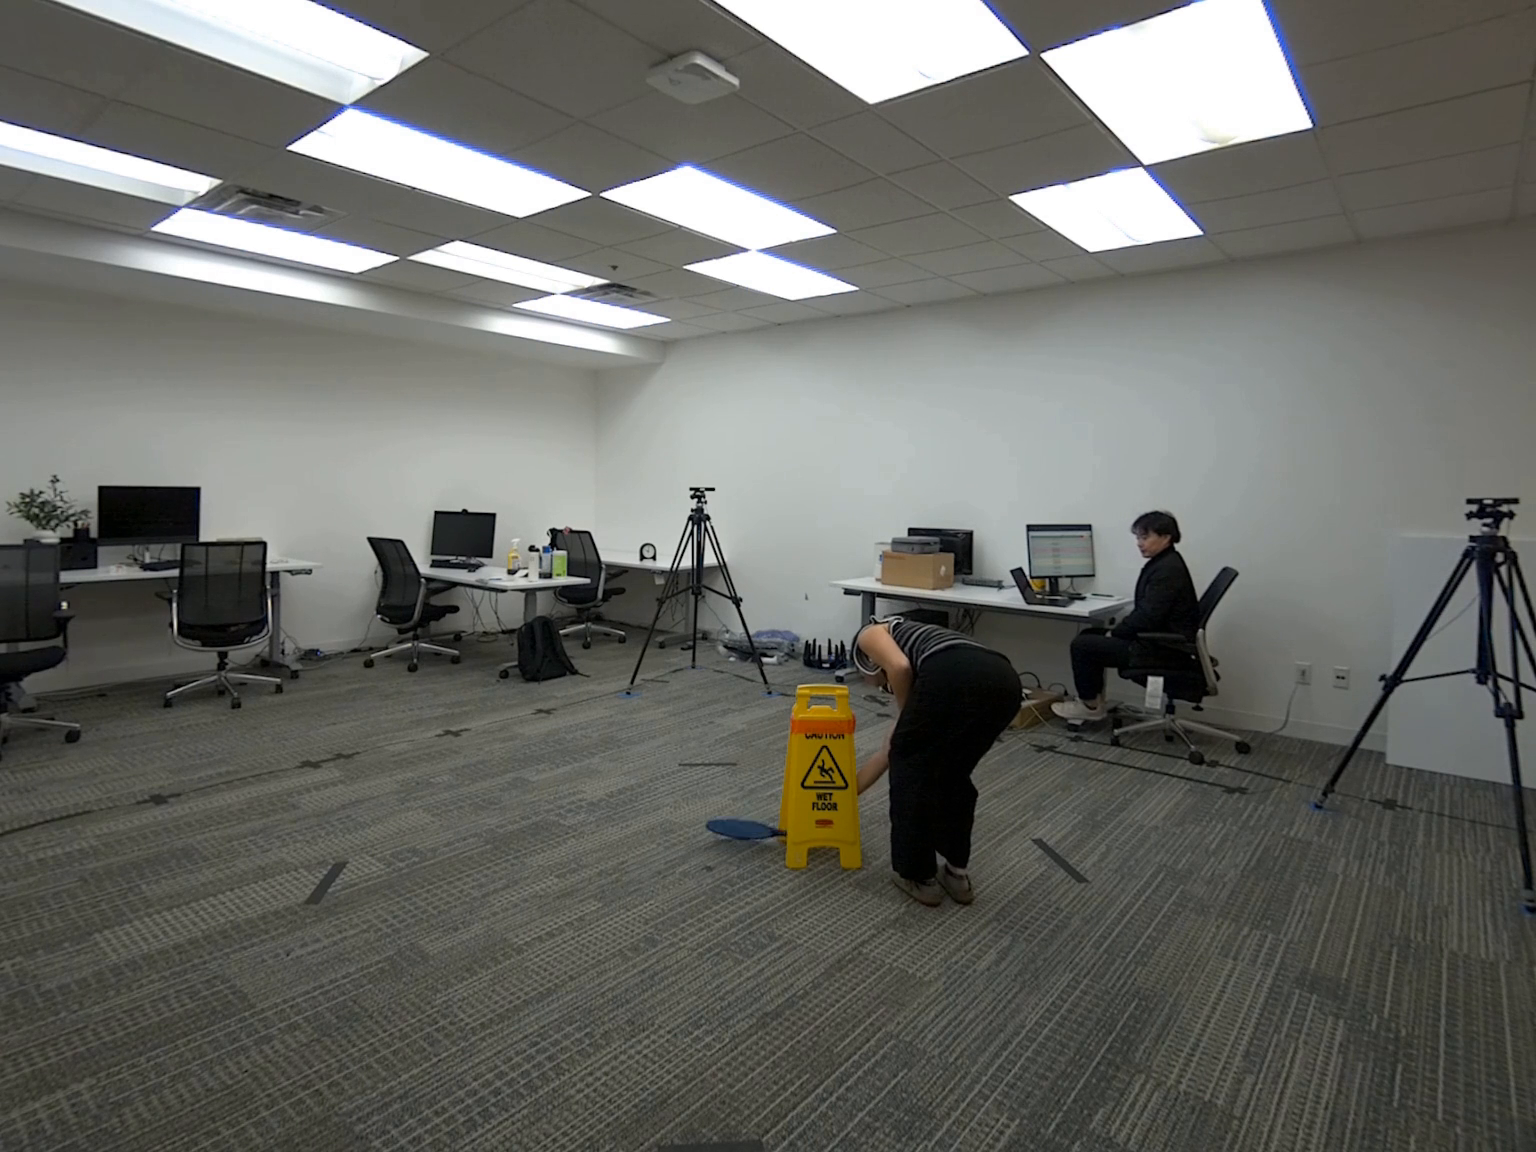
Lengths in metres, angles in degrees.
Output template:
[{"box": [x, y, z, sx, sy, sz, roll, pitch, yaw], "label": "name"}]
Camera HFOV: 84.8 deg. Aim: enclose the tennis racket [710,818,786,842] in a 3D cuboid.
[{"box": [0.022, 1.003, 3.298, 0.434, 0.032, 0.210, 4, -18, 1], "label": "tennis racket"}]
